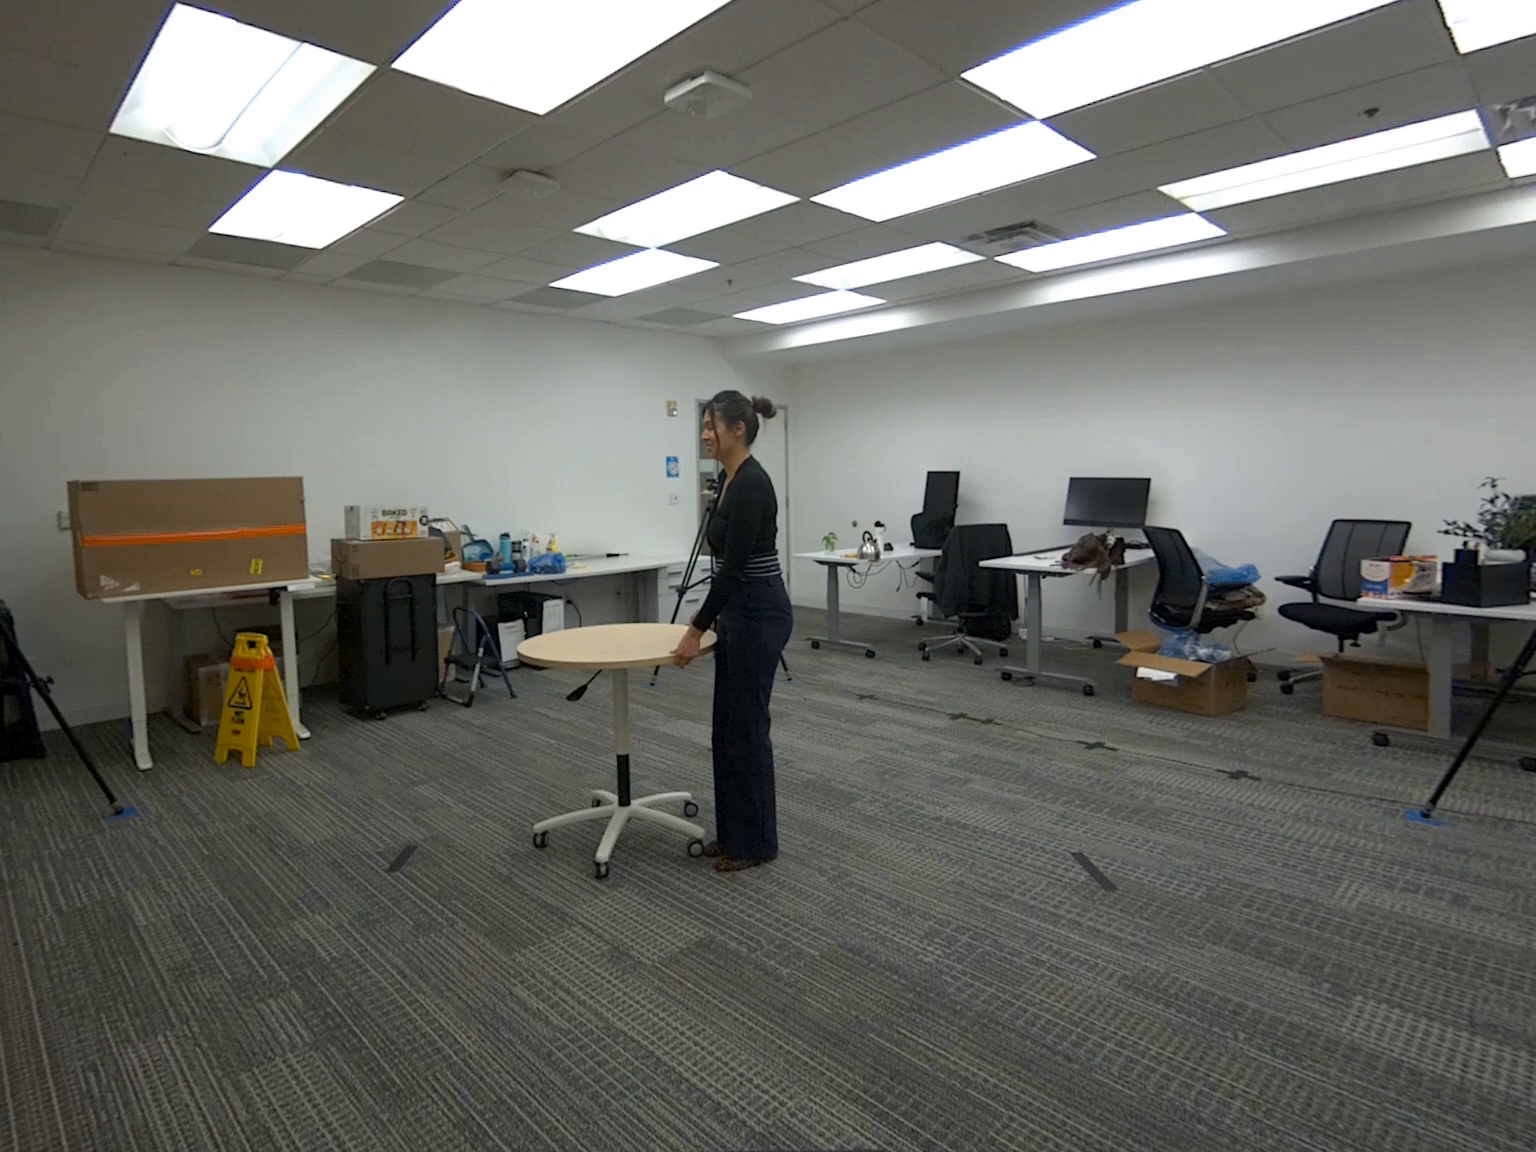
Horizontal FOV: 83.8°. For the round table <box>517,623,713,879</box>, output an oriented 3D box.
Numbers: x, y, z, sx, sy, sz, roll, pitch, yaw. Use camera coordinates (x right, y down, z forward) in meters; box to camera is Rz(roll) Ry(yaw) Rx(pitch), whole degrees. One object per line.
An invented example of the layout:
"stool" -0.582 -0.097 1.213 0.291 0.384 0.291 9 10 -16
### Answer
"round table" -0.556 0.640 3.308 0.763 0.791 0.768 -2 5 -2
